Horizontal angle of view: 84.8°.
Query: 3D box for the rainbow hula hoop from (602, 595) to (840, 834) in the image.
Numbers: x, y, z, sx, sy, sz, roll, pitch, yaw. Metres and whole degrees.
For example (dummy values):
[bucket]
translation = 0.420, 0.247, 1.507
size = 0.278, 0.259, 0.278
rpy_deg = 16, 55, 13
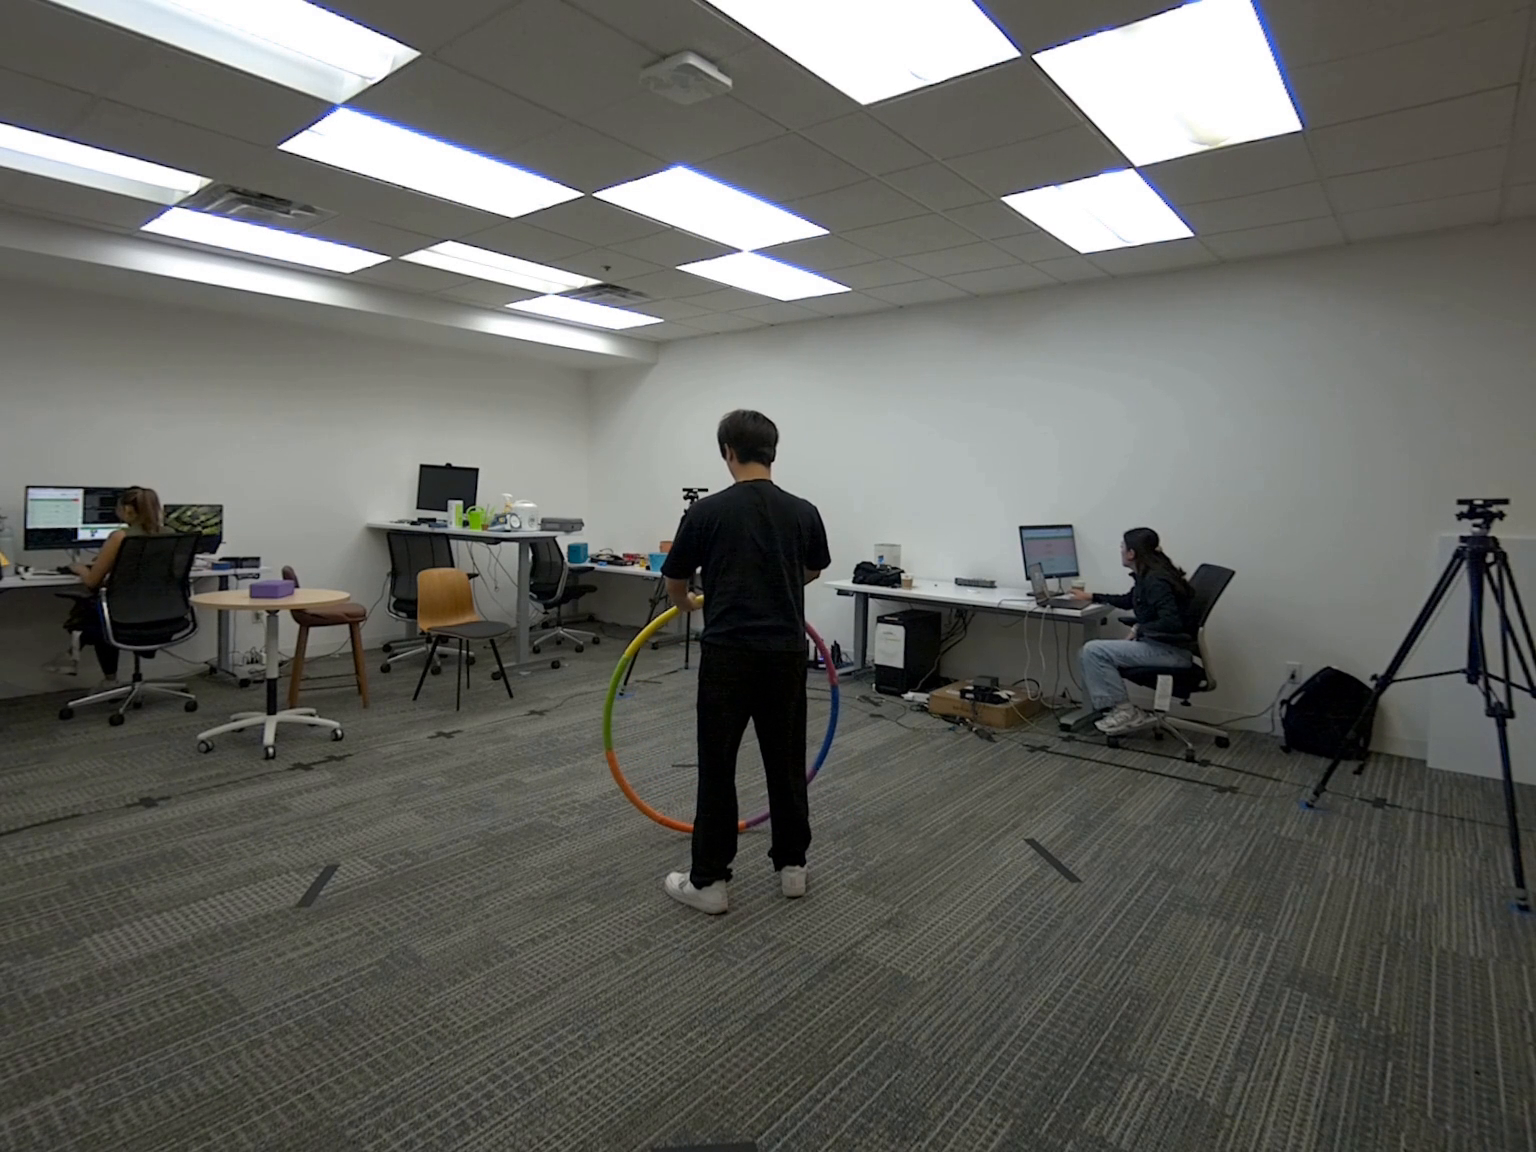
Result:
[rainbow hula hoop]
translation = -0.184, 0.553, 3.362
size = 0.962, 0.971, 0.036
rpy_deg = 0, 8, -16
